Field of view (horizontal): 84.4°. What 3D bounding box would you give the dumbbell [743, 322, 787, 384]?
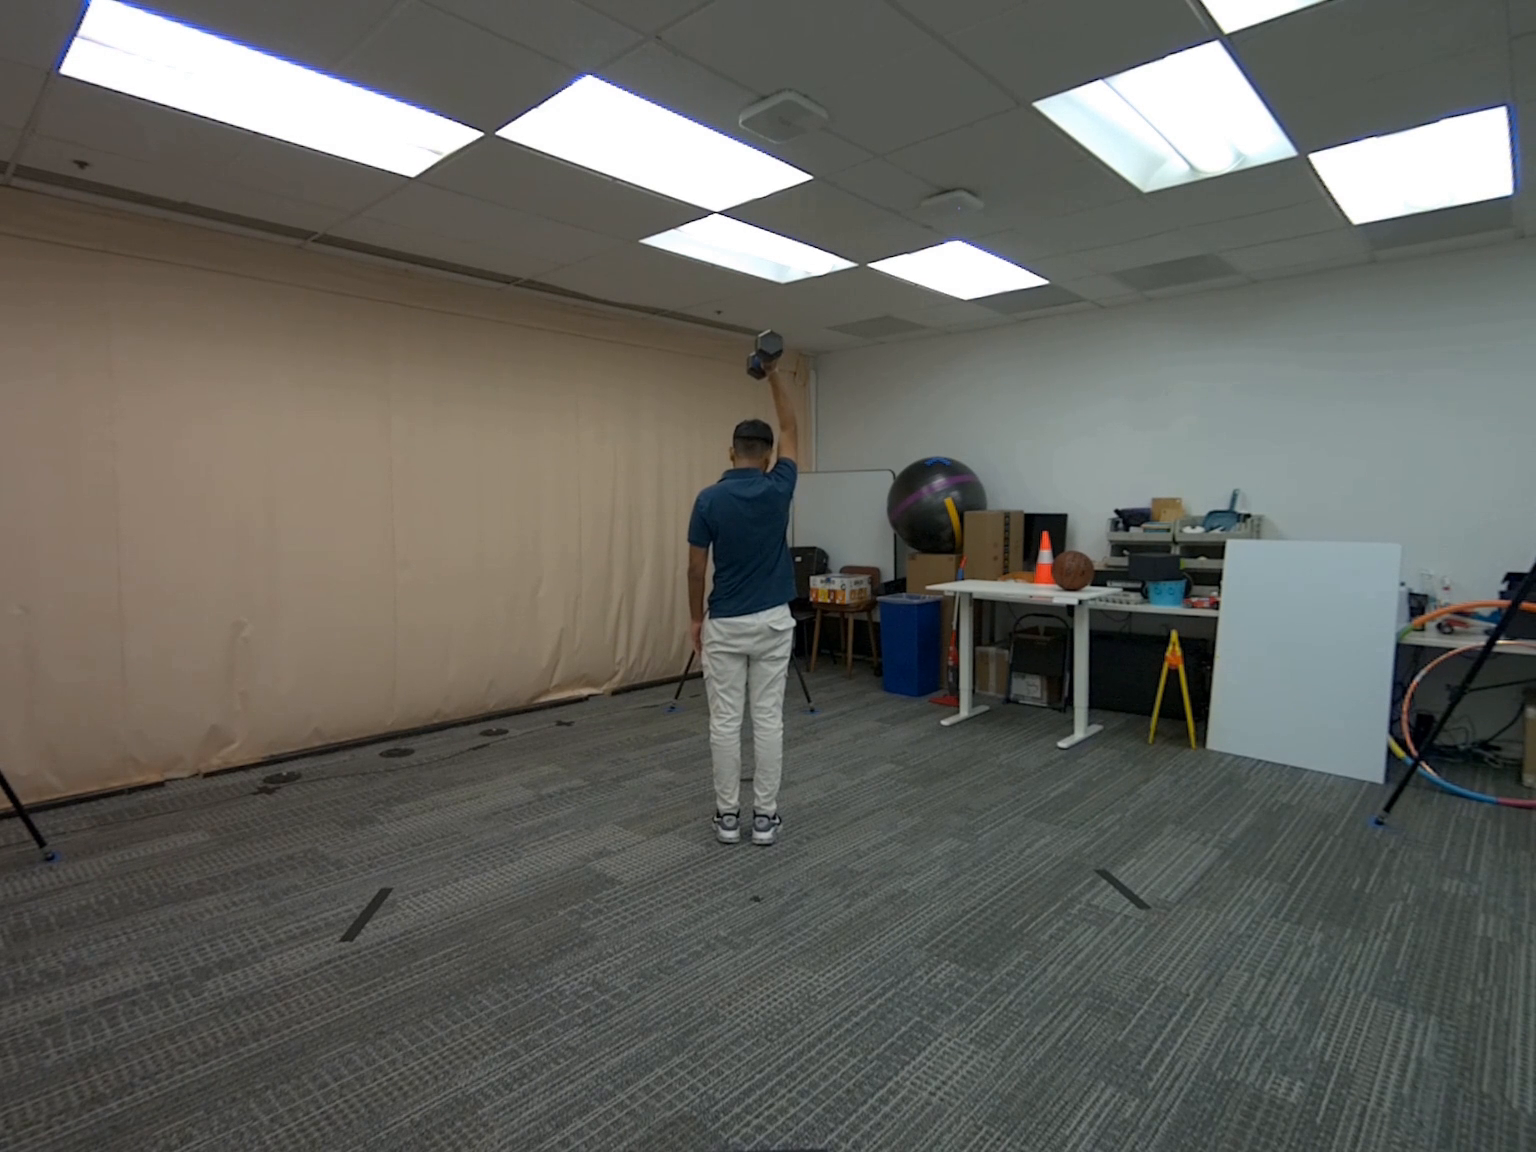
[{"bbox_3d":[-0.020,-0.940,3.580,0.122,0.109,0.293,-22,-6,-8],"label":"dumbbell"}]
